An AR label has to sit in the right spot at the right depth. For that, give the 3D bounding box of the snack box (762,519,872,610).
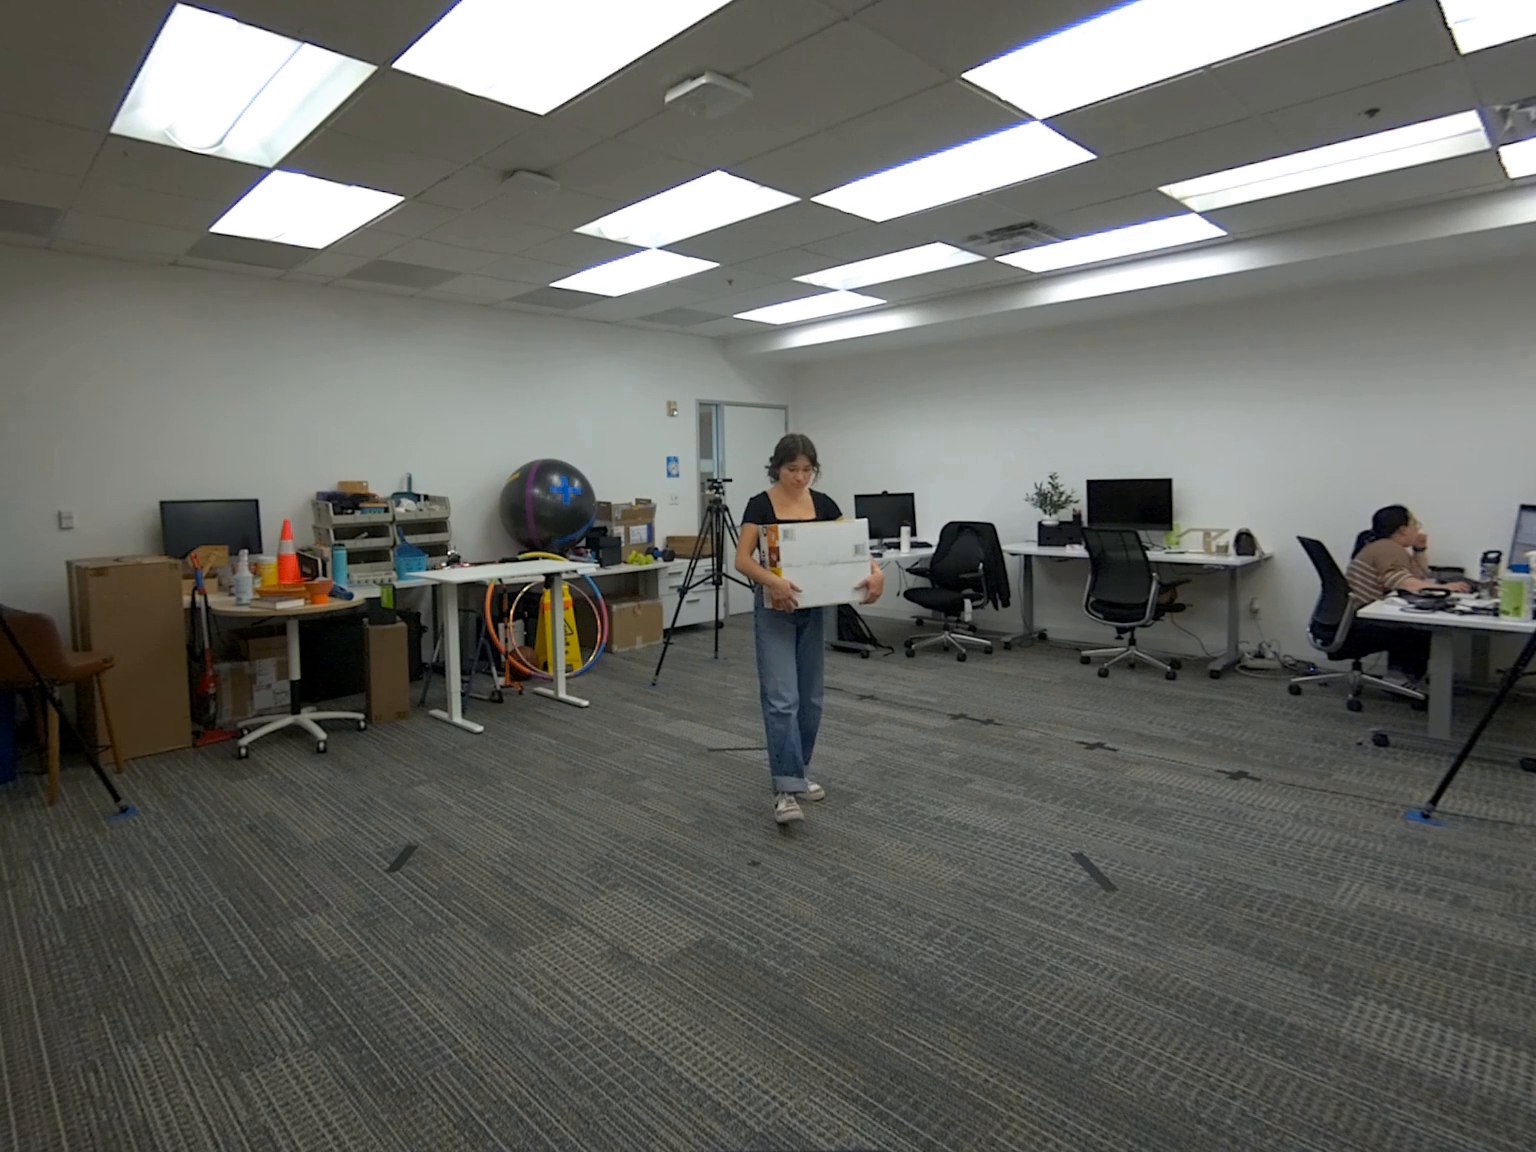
[{"bbox_3d":[0.187,-0.048,3.497,0.398,0.340,0.210,-5,2,-21],"label":"snack box"}]
